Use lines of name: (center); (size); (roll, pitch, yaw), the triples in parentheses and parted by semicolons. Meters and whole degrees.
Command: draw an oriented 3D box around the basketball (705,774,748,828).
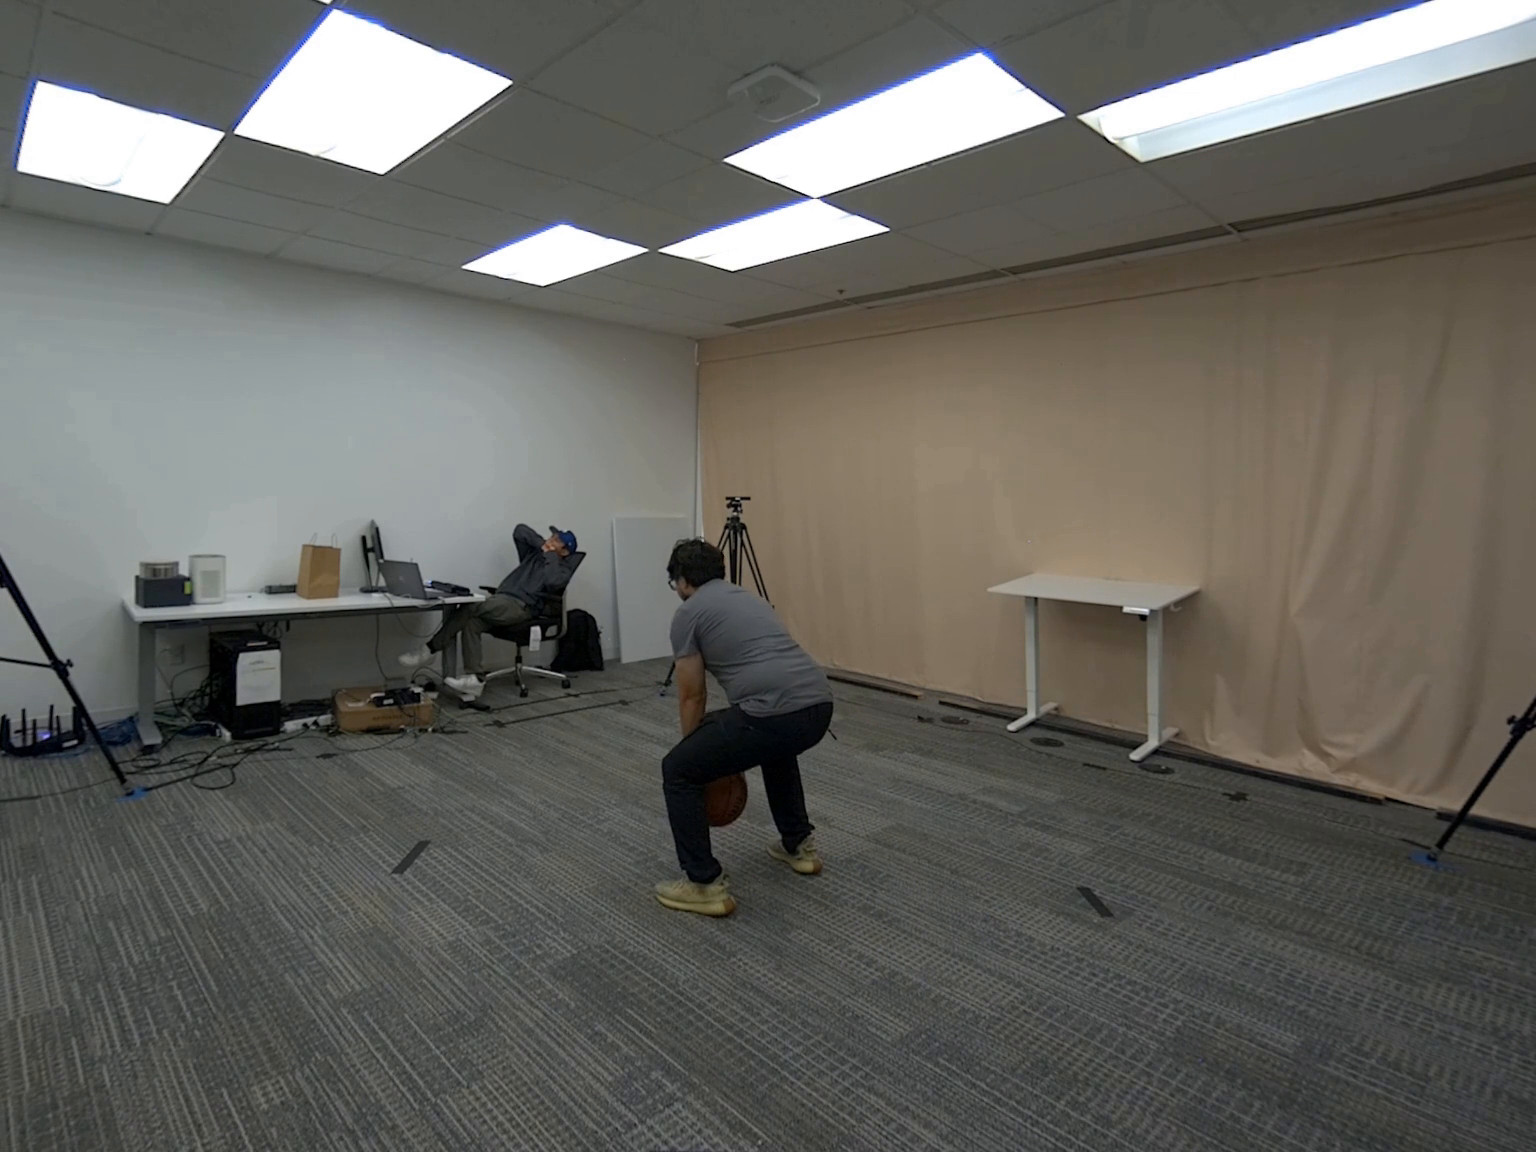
basketball: (-0.202, 0.816, 3.162); (0.236, 0.235, 0.237); (1, 4, -1)
